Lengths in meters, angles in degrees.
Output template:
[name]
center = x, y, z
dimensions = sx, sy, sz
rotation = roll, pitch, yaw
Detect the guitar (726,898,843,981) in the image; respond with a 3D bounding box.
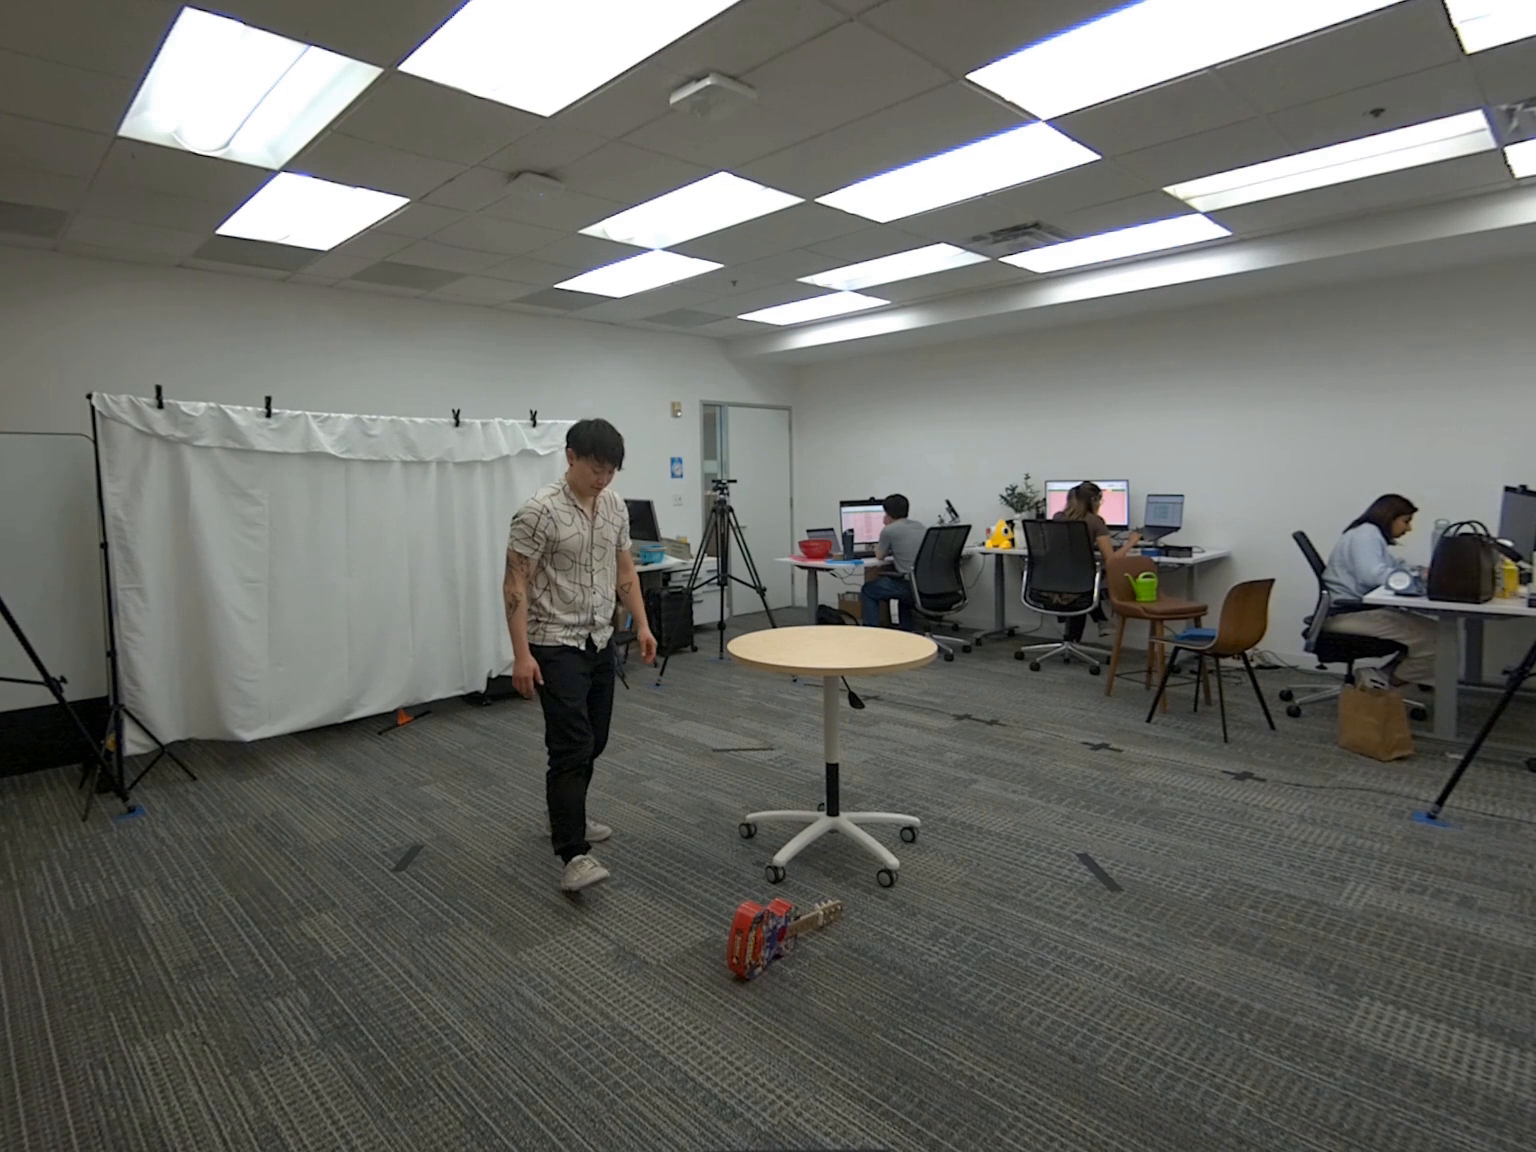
[guitar]
center = 0.056, 1.063, 2.550
dimensions = 0.073, 0.194, 0.480
rotation = 7, -8, 39
